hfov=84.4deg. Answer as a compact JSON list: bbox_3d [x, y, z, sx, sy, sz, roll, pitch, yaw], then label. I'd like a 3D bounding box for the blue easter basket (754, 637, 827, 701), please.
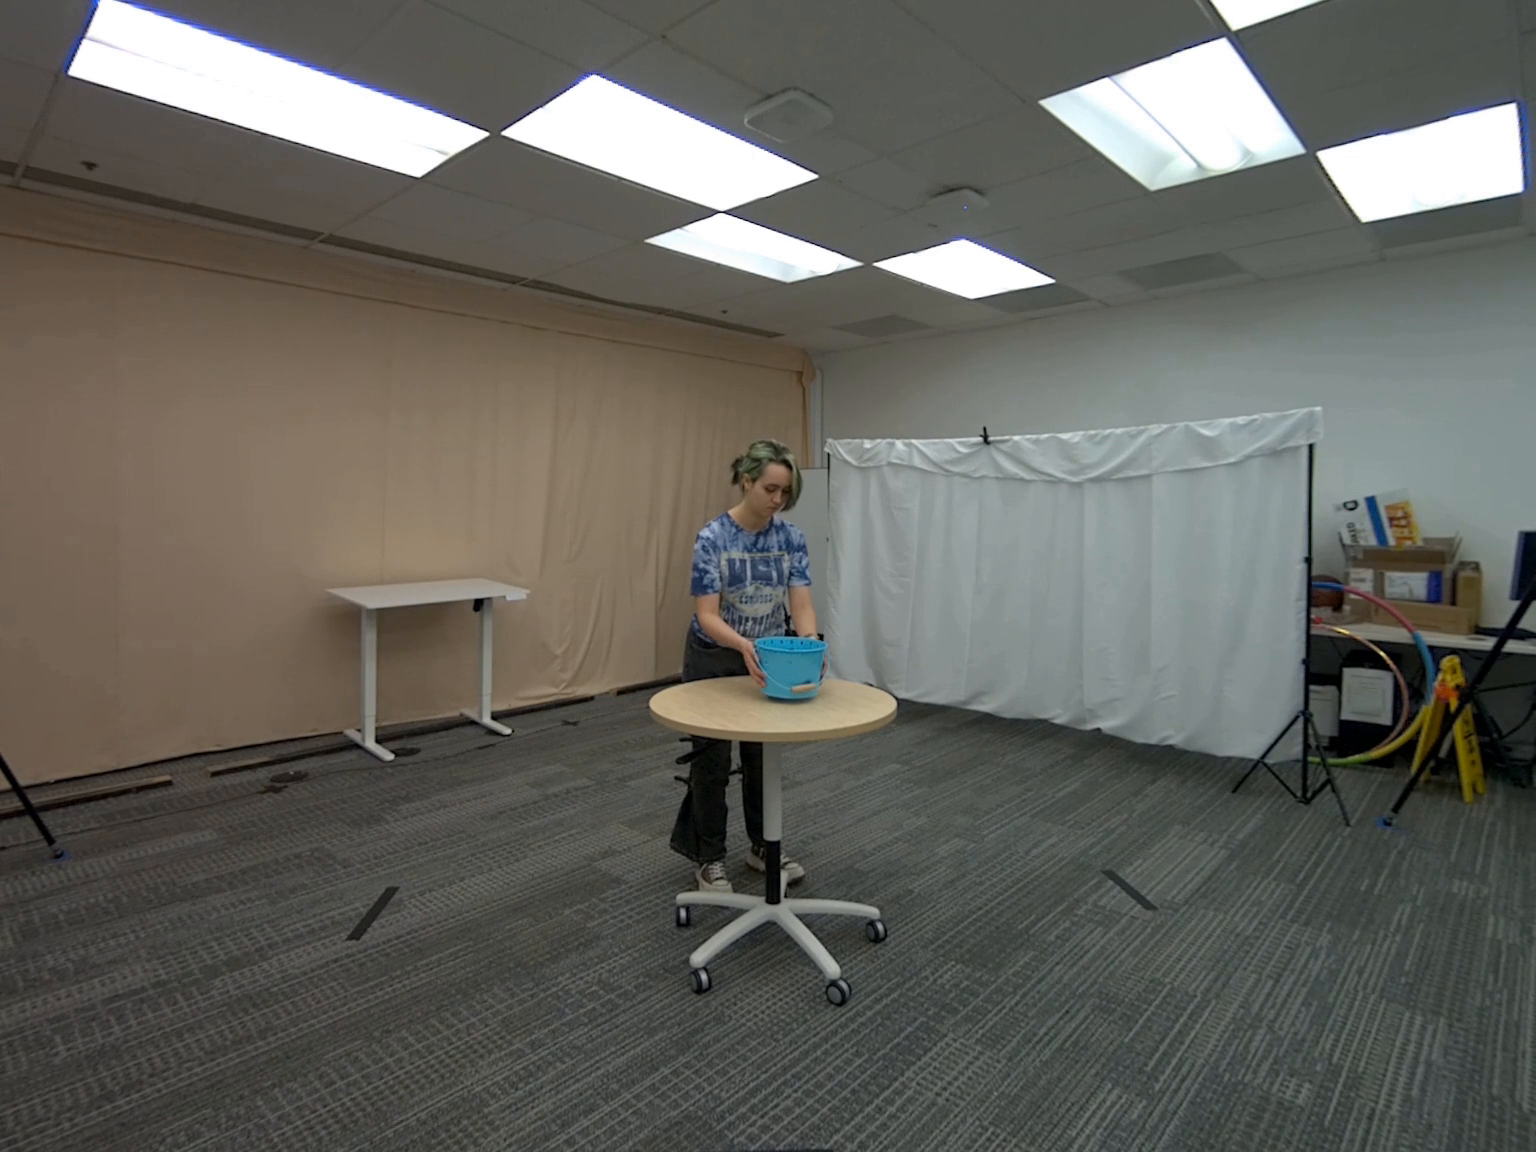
[{"bbox_3d":[0.089,0.292,2.648,0.243,0.155,0.244,3,5,-2],"label":"blue easter basket"}]
